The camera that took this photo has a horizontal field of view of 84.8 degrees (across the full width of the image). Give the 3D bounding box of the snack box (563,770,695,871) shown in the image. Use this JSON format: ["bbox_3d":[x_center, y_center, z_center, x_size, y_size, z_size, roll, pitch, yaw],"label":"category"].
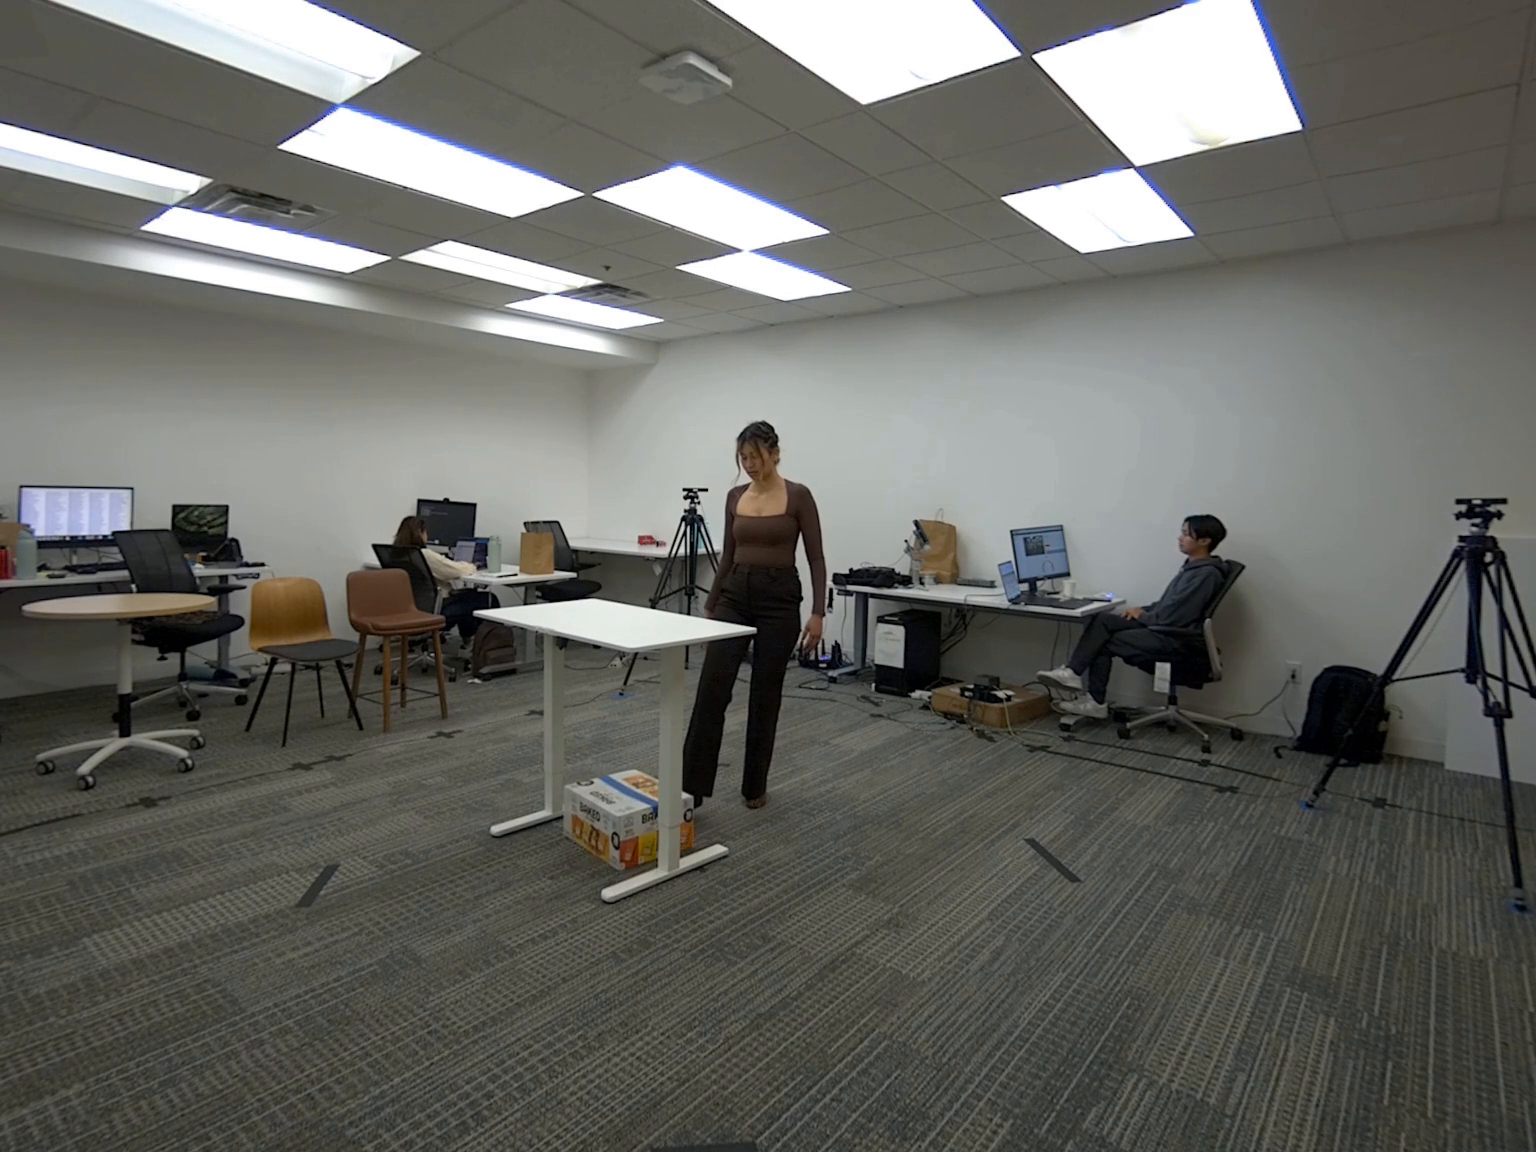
[{"bbox_3d":[-0.564,0.941,3.334,0.330,0.205,0.419,-3,7,-42],"label":"snack box"}]
